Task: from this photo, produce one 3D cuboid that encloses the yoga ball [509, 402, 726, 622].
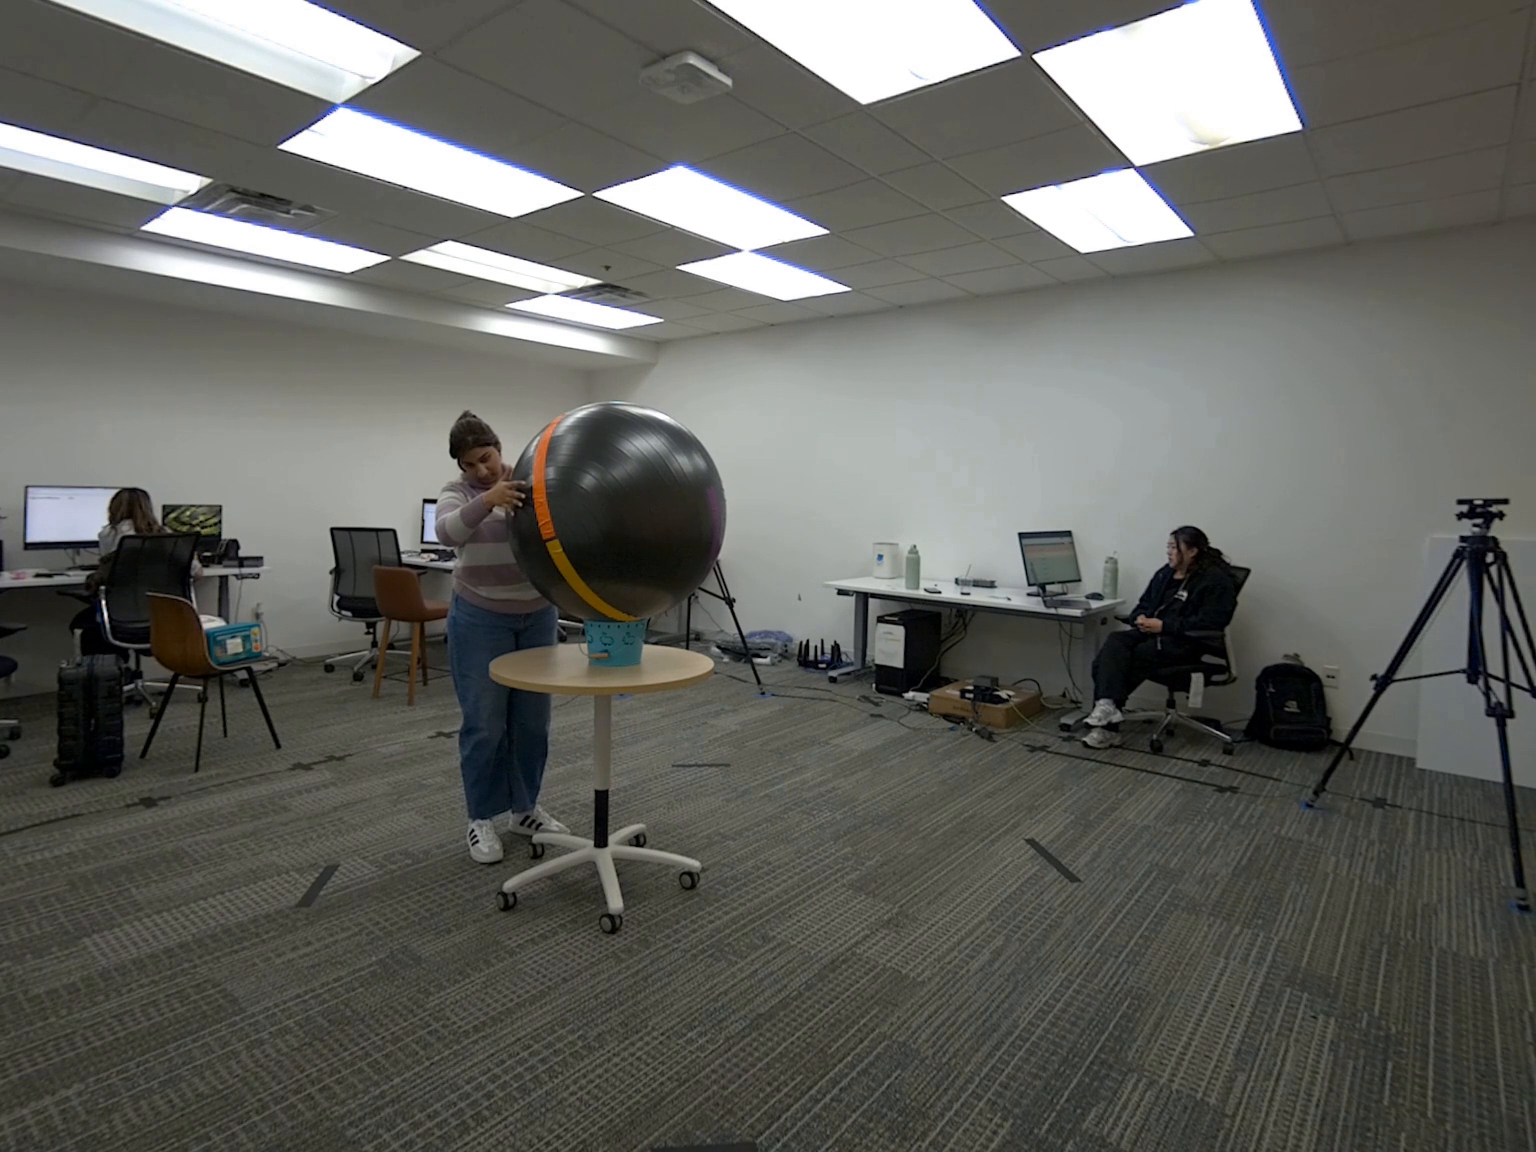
[{"bbox_3d":[-0.530,-0.215,2.934,0.757,0.755,0.762,1,4,-2],"label":"yoga ball"}]
